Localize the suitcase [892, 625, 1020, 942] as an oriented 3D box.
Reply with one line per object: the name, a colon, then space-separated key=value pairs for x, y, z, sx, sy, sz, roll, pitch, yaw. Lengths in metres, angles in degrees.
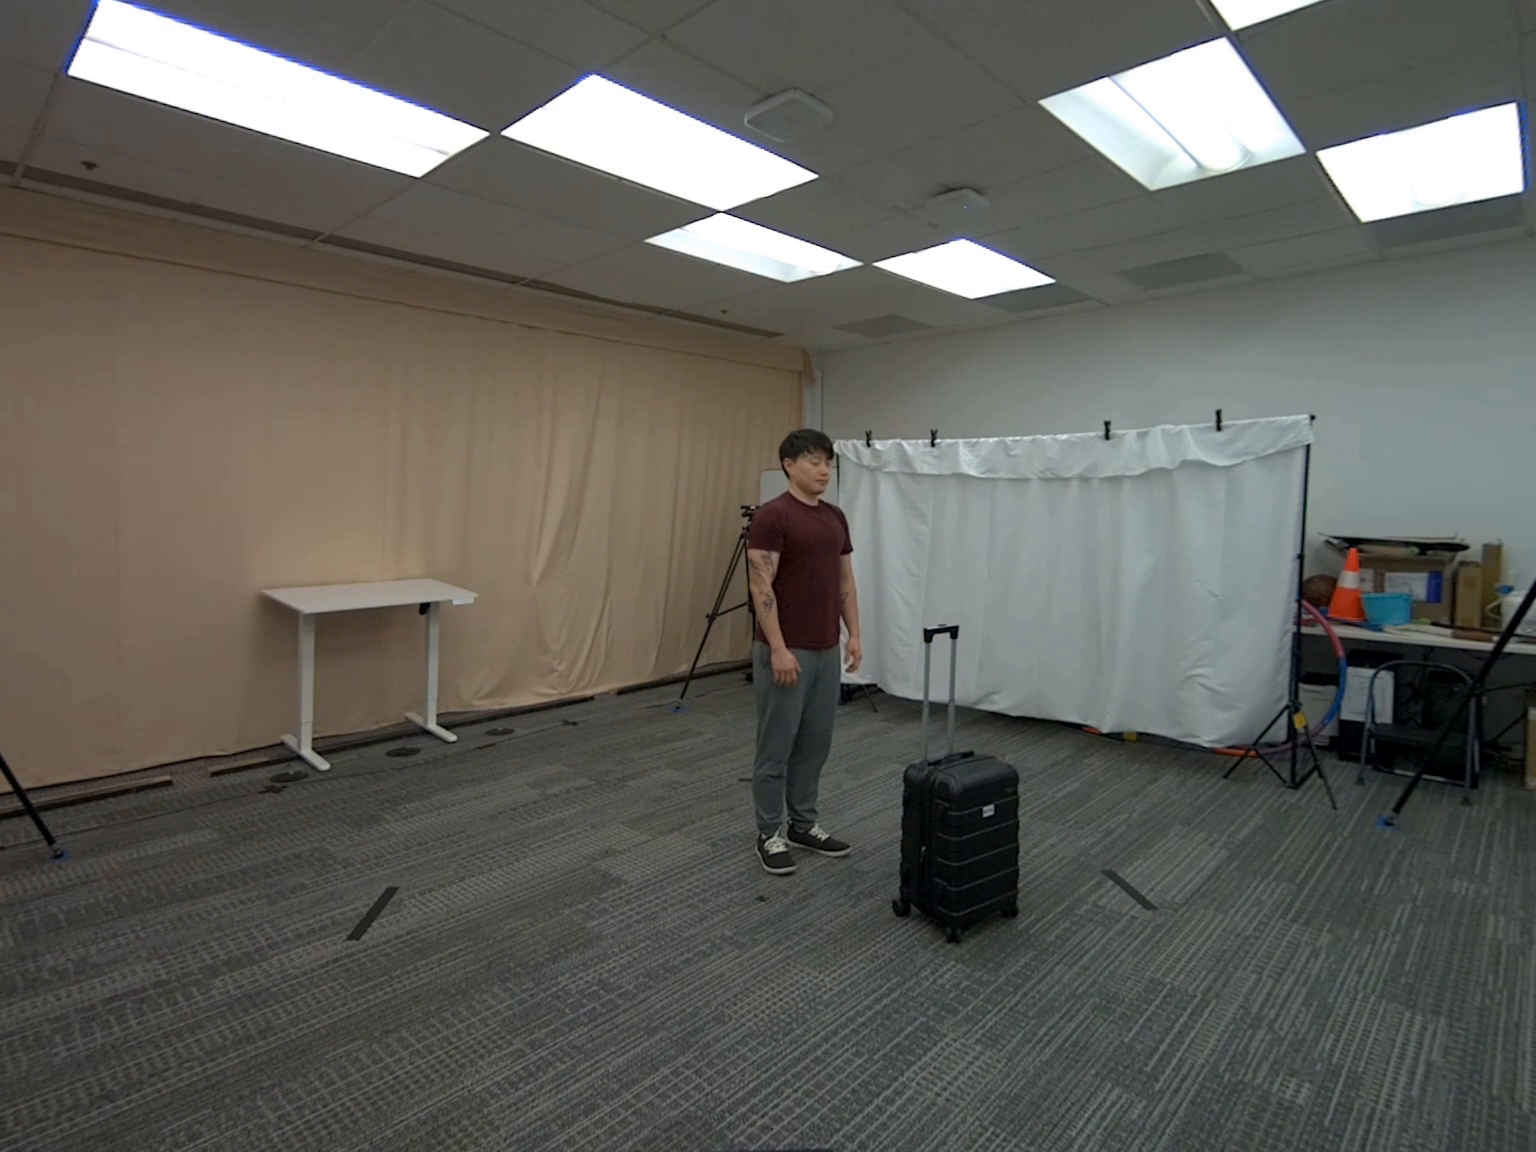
suitcase: x=0.657 y=0.681 z=2.805 sx=0.373 sy=0.974 sz=0.265 roll=-3 pitch=8 yaw=-32
